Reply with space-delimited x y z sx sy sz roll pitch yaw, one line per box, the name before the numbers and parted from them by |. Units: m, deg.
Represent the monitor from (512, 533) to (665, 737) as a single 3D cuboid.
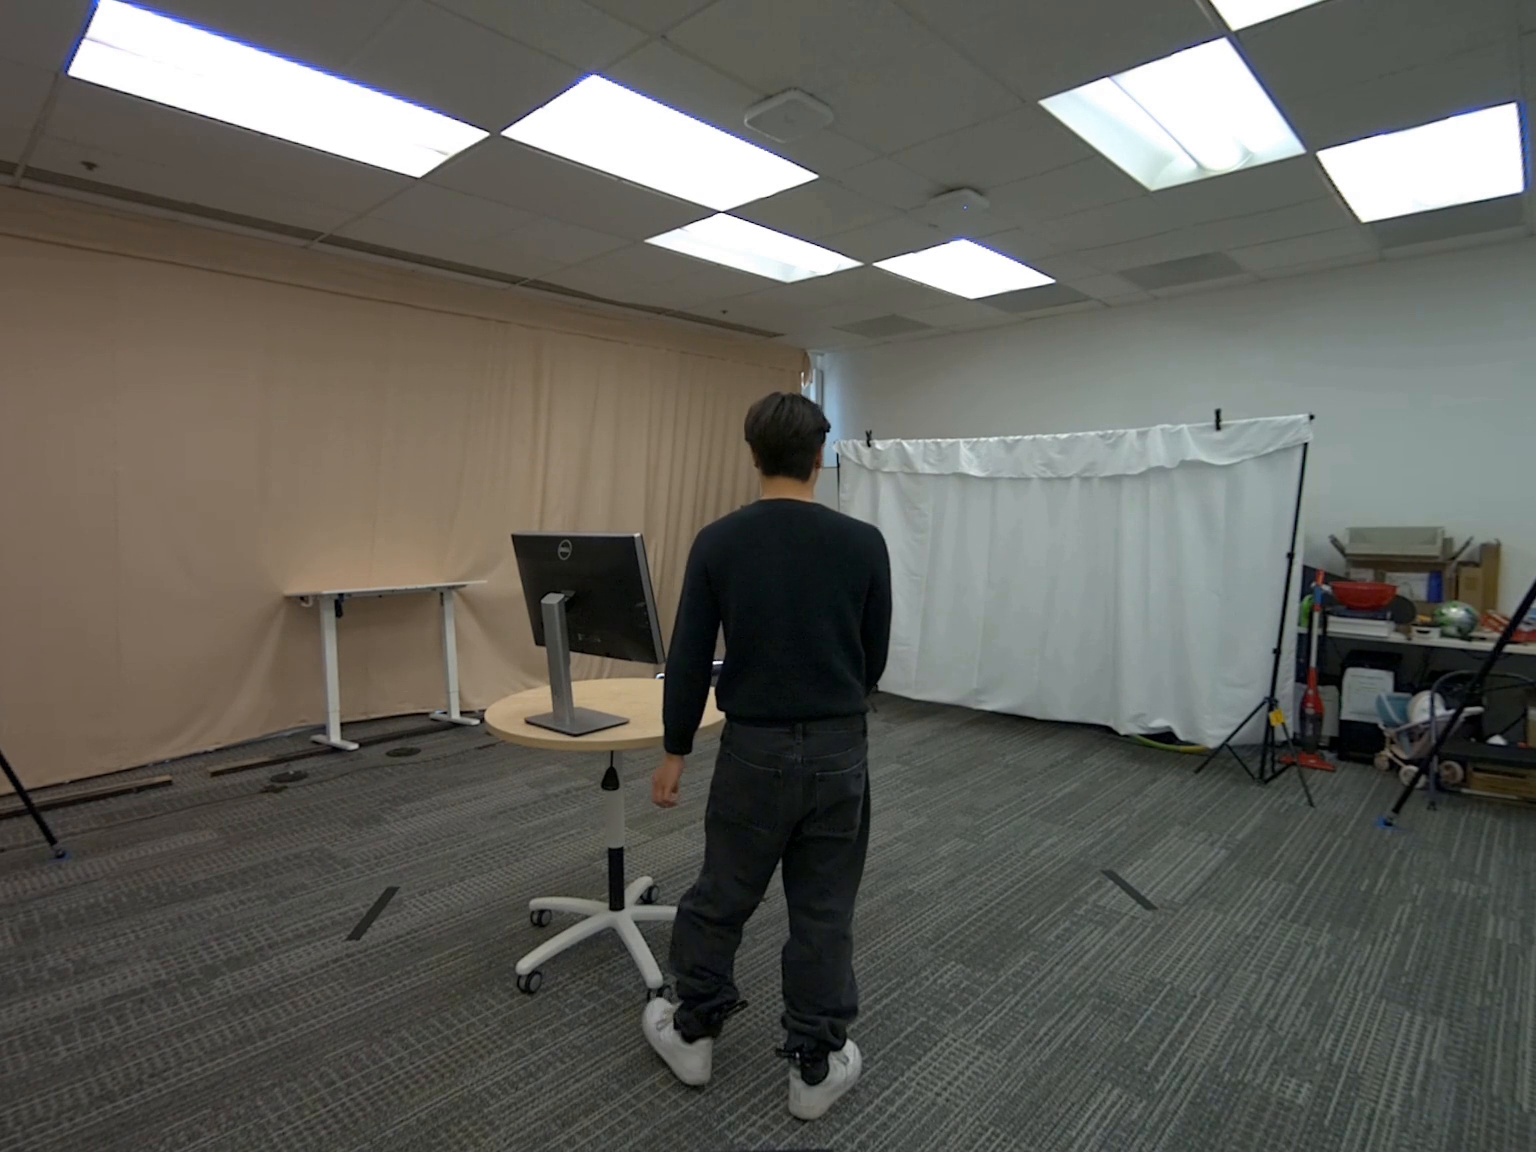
monitor | -0.549 0.151 2.380 0.556 0.522 0.181 2 3 38
